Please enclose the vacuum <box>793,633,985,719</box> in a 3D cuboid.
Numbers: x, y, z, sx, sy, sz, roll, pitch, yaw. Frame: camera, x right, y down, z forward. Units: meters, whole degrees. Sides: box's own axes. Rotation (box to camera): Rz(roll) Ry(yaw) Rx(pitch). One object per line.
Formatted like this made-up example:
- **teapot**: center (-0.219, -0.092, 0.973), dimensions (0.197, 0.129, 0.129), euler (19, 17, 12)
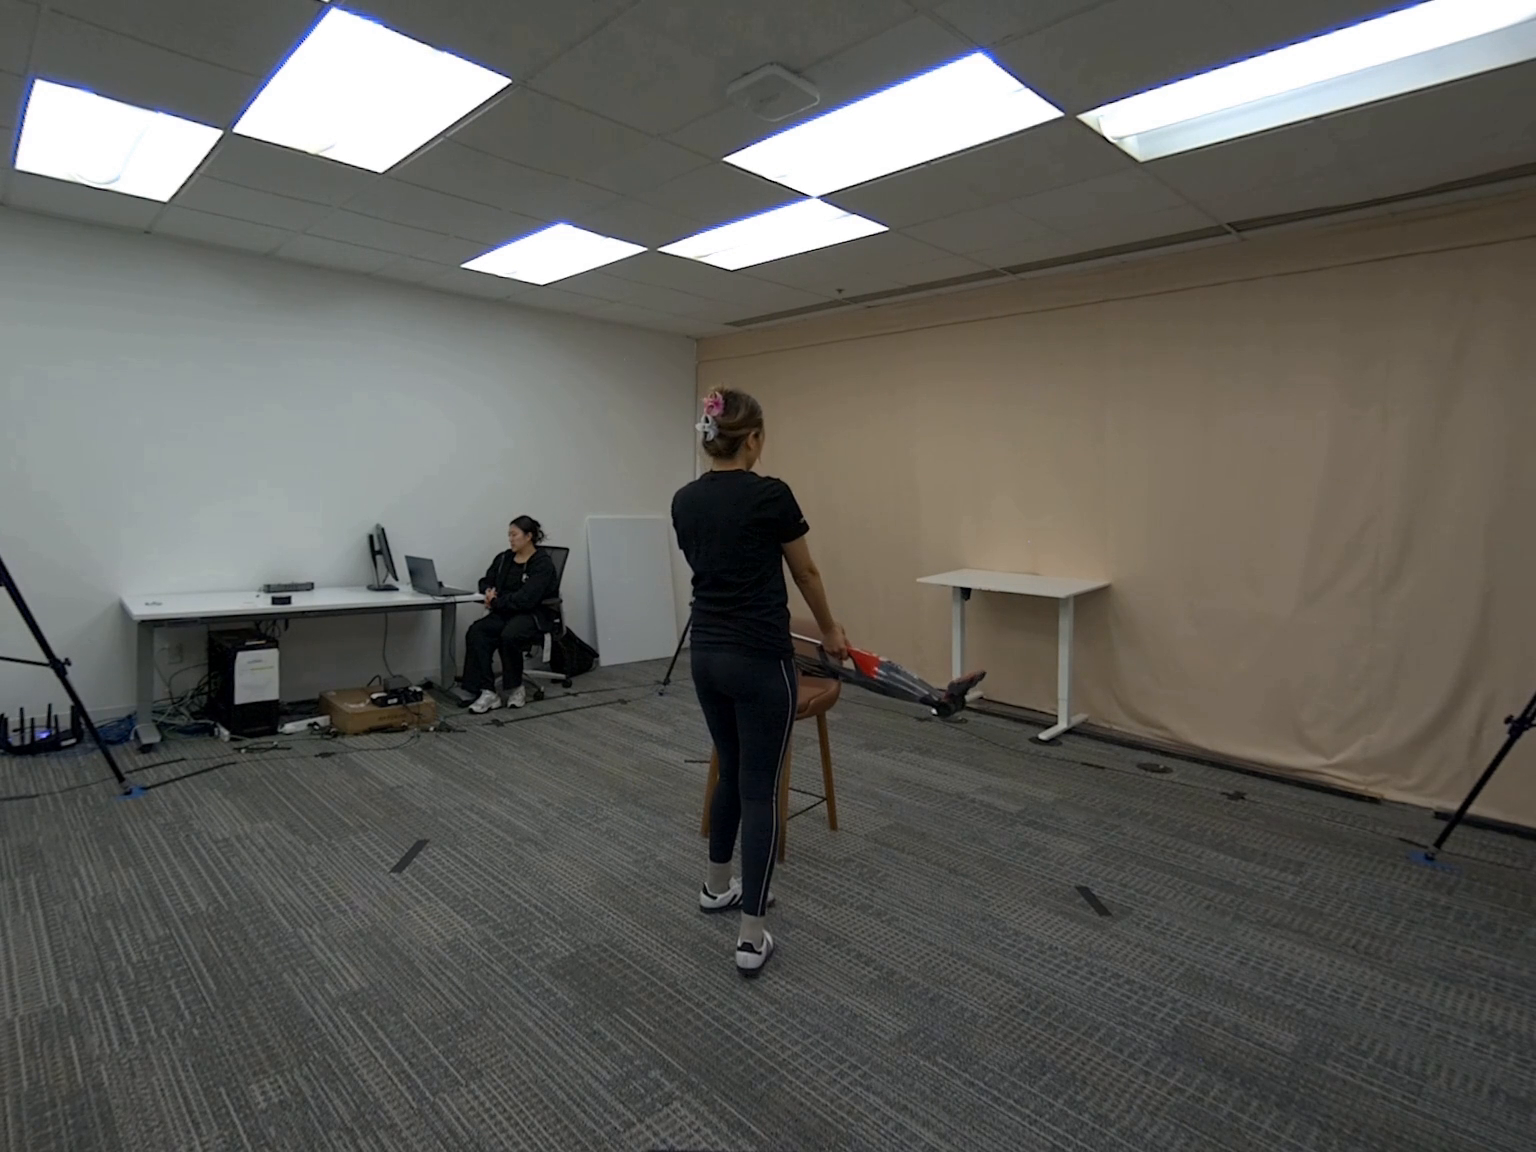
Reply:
- **vacuum**: center (0.183, 0.286, 2.911), dimensions (1.078, 0.143, 0.247), euler (12, 7, 37)
